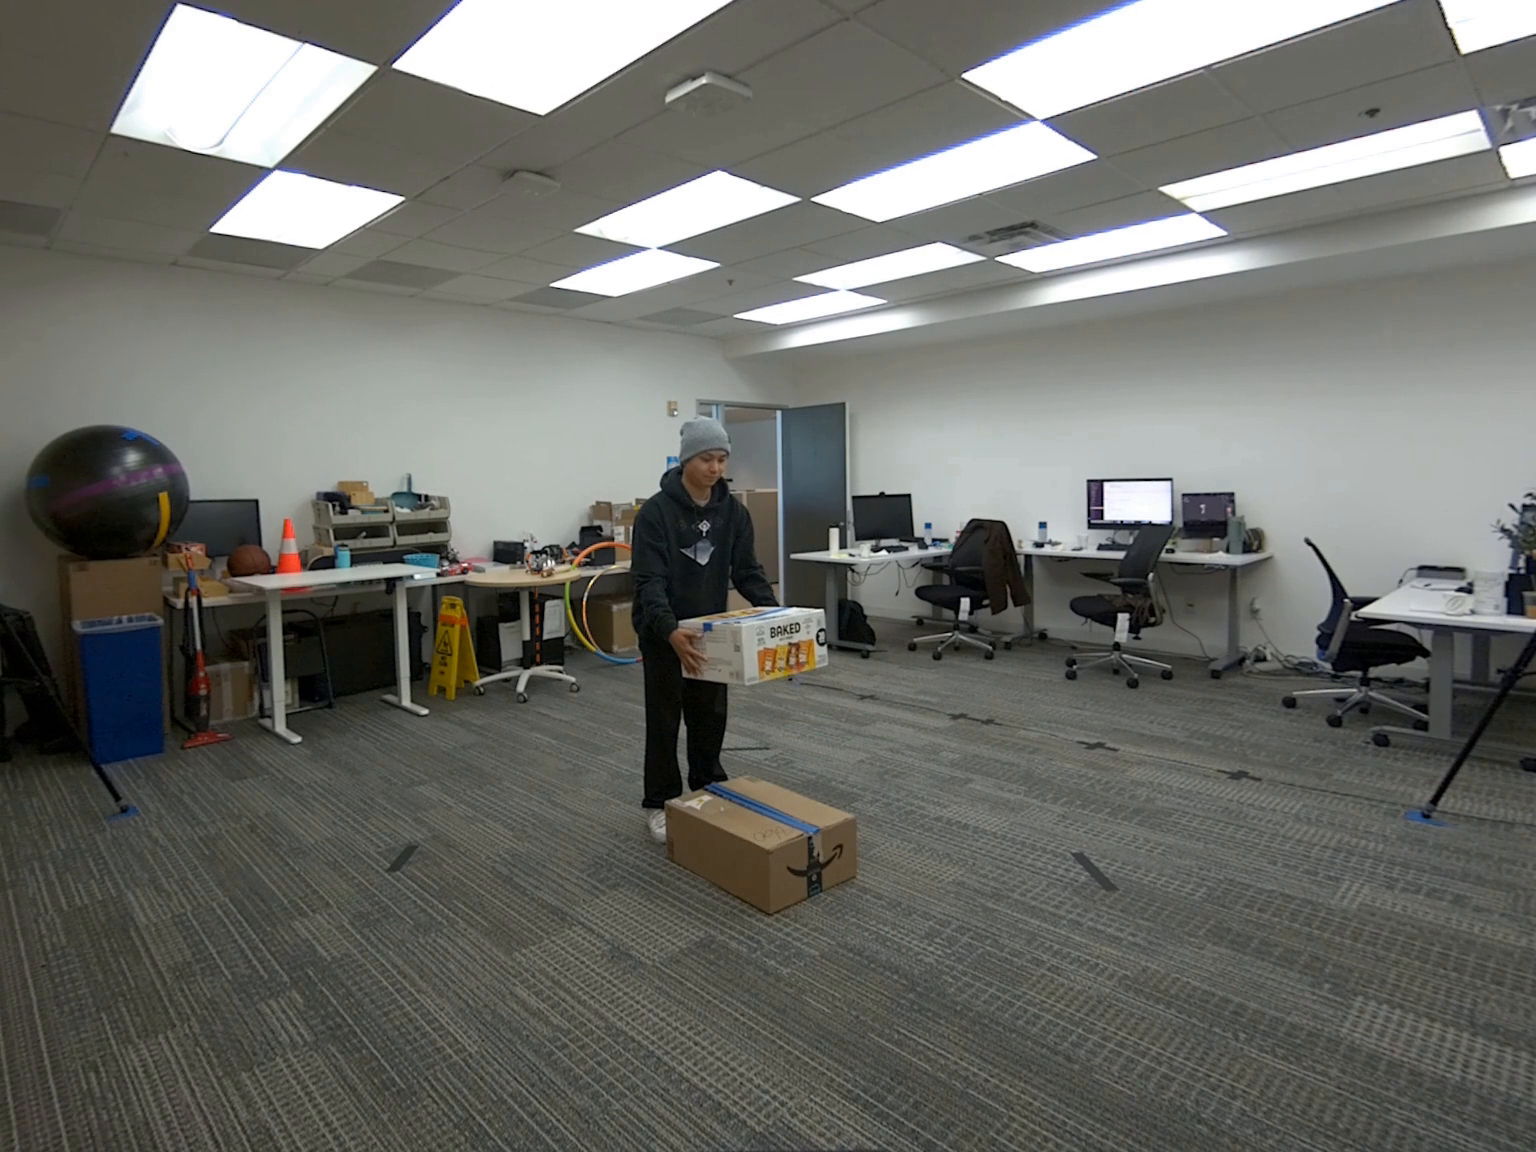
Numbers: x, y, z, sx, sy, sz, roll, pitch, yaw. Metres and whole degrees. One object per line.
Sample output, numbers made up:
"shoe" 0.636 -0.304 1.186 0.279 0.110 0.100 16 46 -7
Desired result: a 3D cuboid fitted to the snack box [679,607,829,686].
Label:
"snack box" -0.051 0.240 3.040 0.395 0.205 0.350 -8 4 -42
